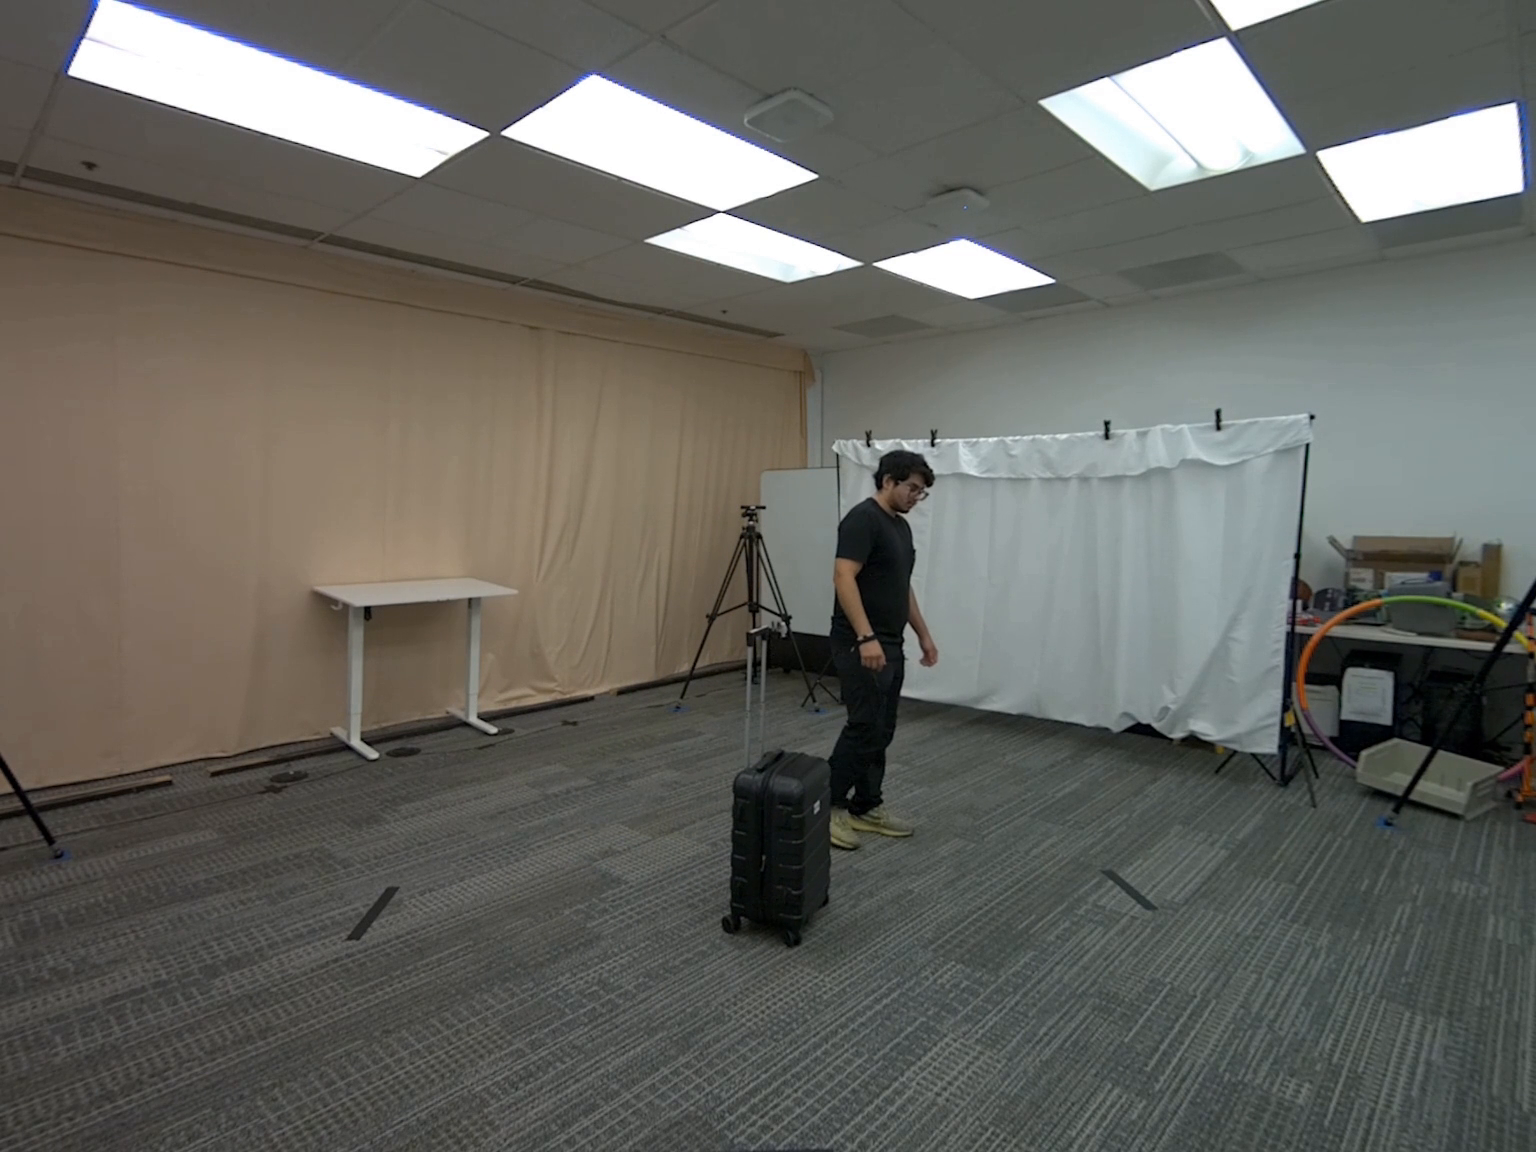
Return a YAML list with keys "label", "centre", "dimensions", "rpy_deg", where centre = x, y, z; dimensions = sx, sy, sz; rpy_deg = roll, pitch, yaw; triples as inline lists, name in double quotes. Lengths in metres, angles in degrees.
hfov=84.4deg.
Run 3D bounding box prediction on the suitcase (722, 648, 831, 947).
- label: "suitcase"
  centre: [0.060, 0.684, 2.804]
  dimensions: [0.263, 0.976, 0.376]
  rpy_deg: [5, 5, 20]
